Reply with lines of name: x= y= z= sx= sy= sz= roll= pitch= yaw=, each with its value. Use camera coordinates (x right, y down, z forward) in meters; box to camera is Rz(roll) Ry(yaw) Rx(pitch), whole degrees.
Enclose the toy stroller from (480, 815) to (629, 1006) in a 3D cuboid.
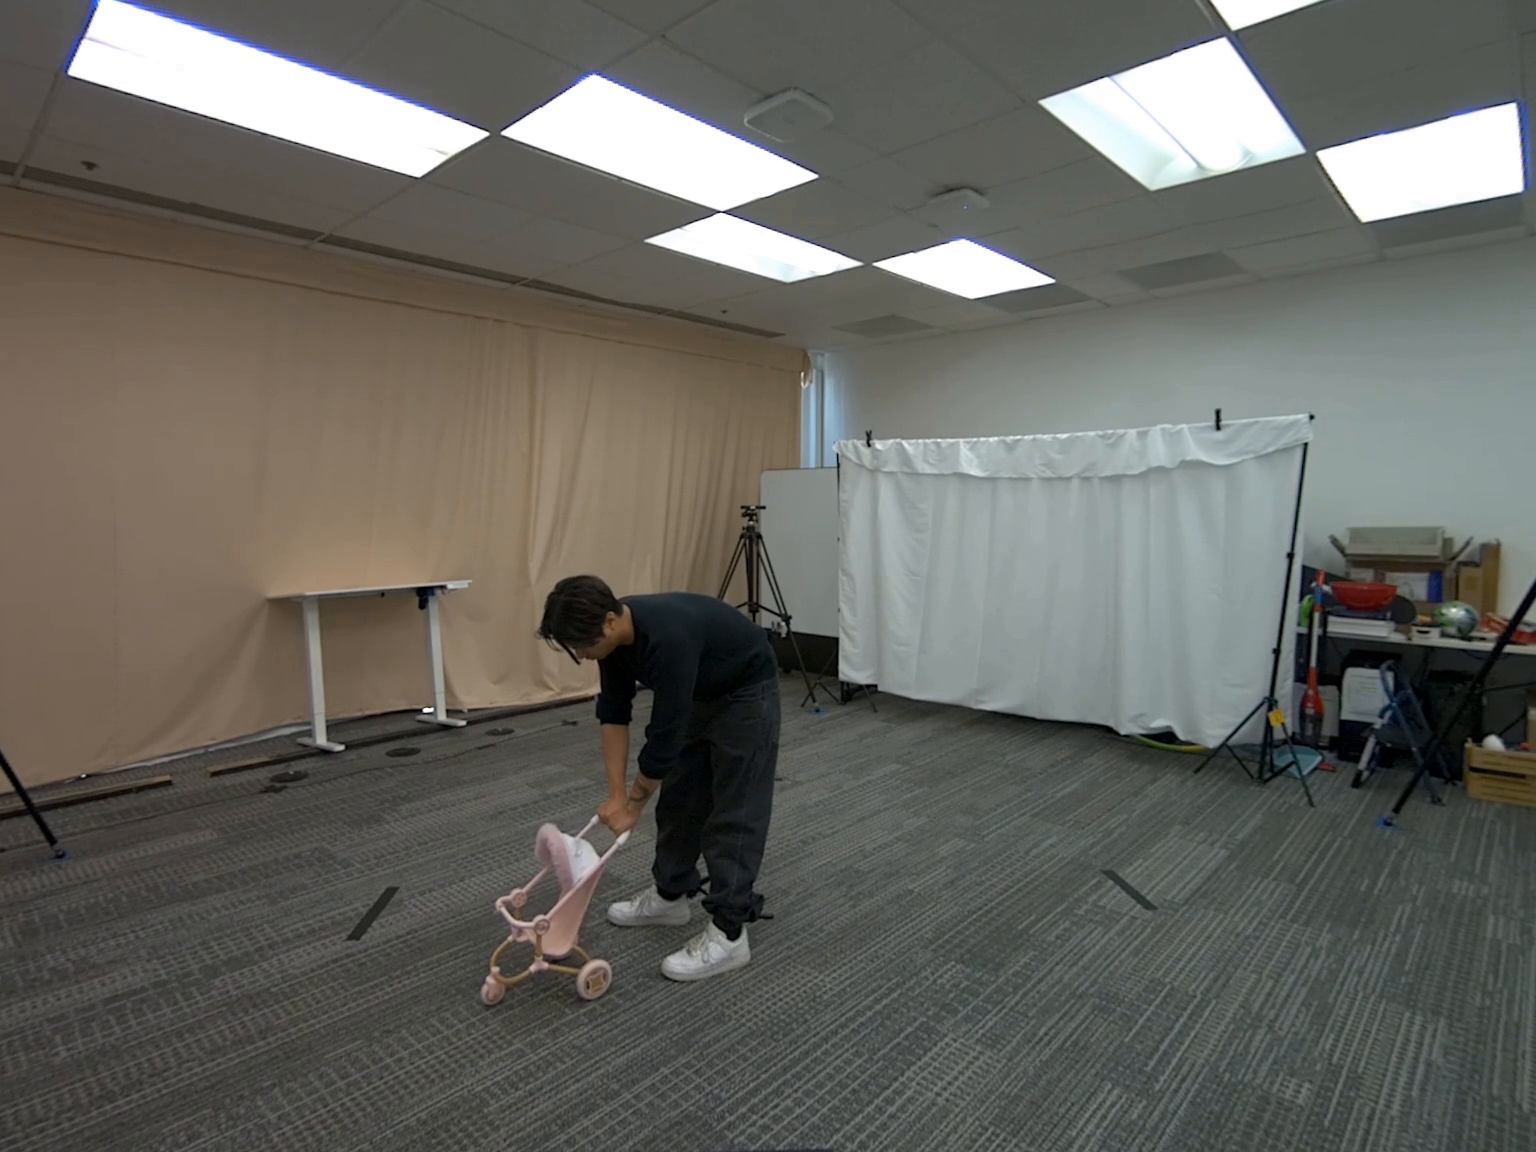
toy stroller: x=-0.621 y=0.965 z=2.439 sx=0.331 sy=0.535 sz=0.290 roll=13 pitch=-3 yaw=-30
